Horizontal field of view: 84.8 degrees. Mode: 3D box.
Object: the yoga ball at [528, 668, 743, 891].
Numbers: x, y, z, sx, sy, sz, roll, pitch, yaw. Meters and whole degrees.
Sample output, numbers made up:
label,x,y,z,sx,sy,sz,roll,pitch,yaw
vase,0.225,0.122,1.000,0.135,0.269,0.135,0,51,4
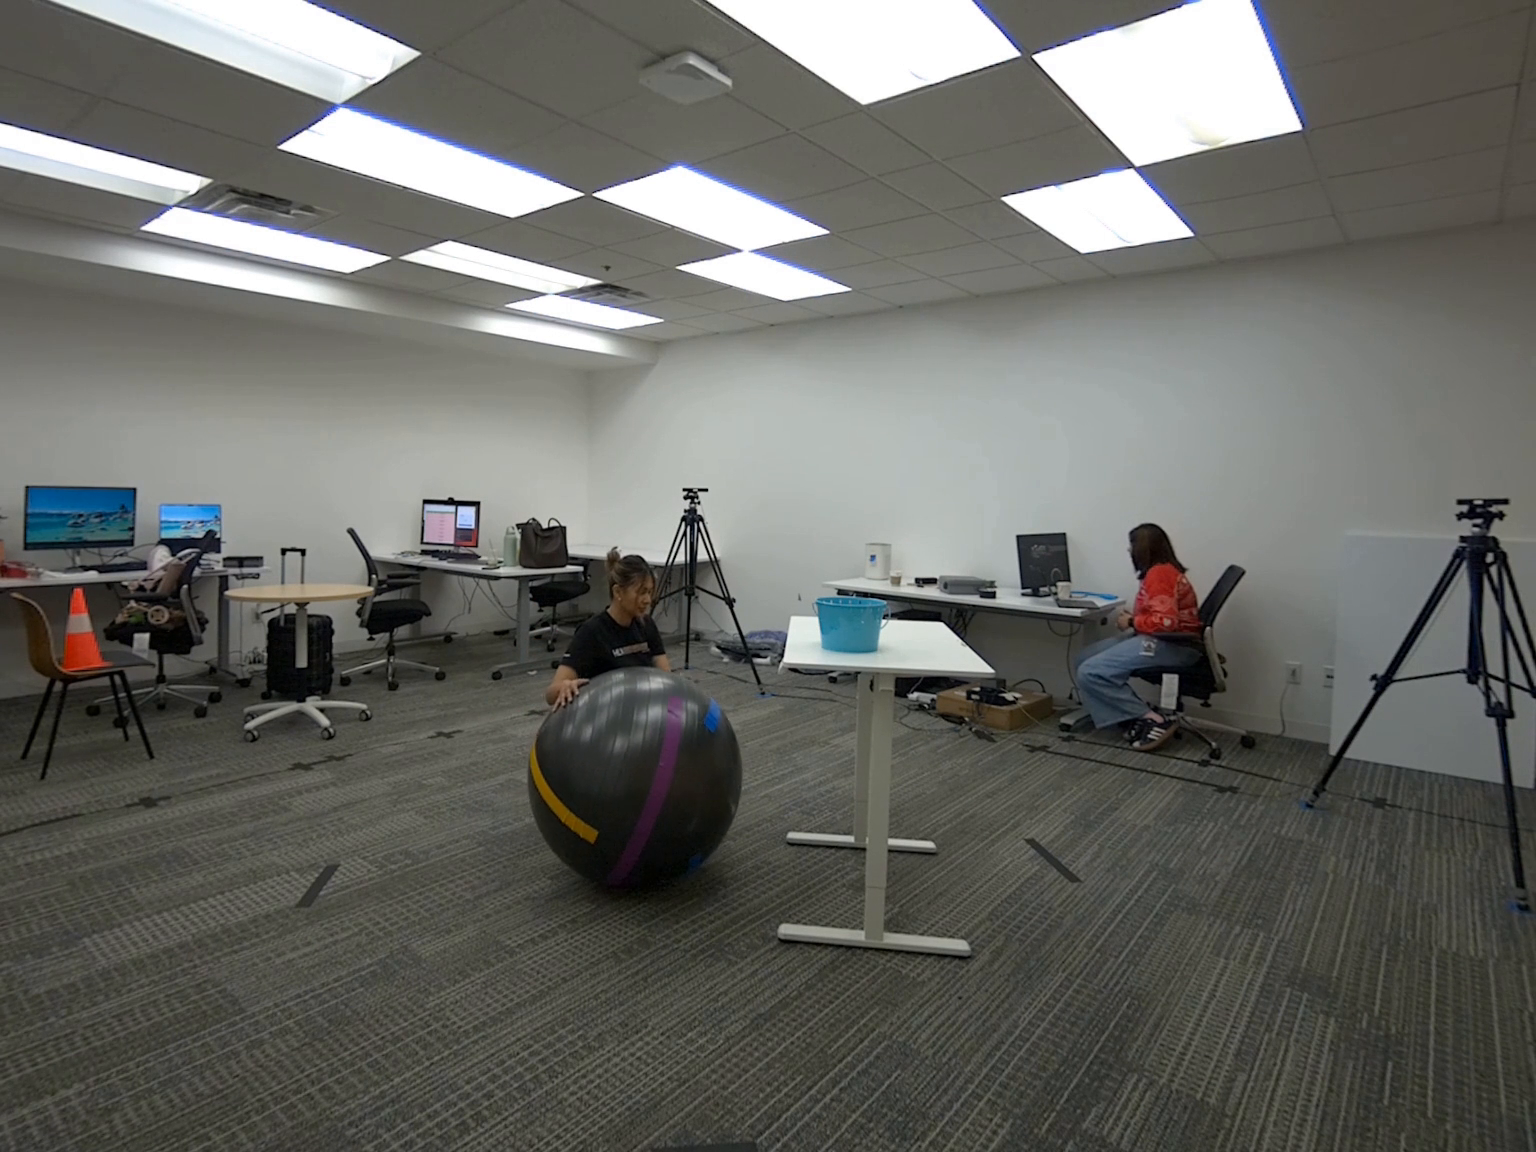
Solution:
label,x,y,z,sx,sy,sz,roll,pitch,yaw
yoga ball,-0.479,0.708,3.031,0.757,0.756,0.762,1,4,-2
